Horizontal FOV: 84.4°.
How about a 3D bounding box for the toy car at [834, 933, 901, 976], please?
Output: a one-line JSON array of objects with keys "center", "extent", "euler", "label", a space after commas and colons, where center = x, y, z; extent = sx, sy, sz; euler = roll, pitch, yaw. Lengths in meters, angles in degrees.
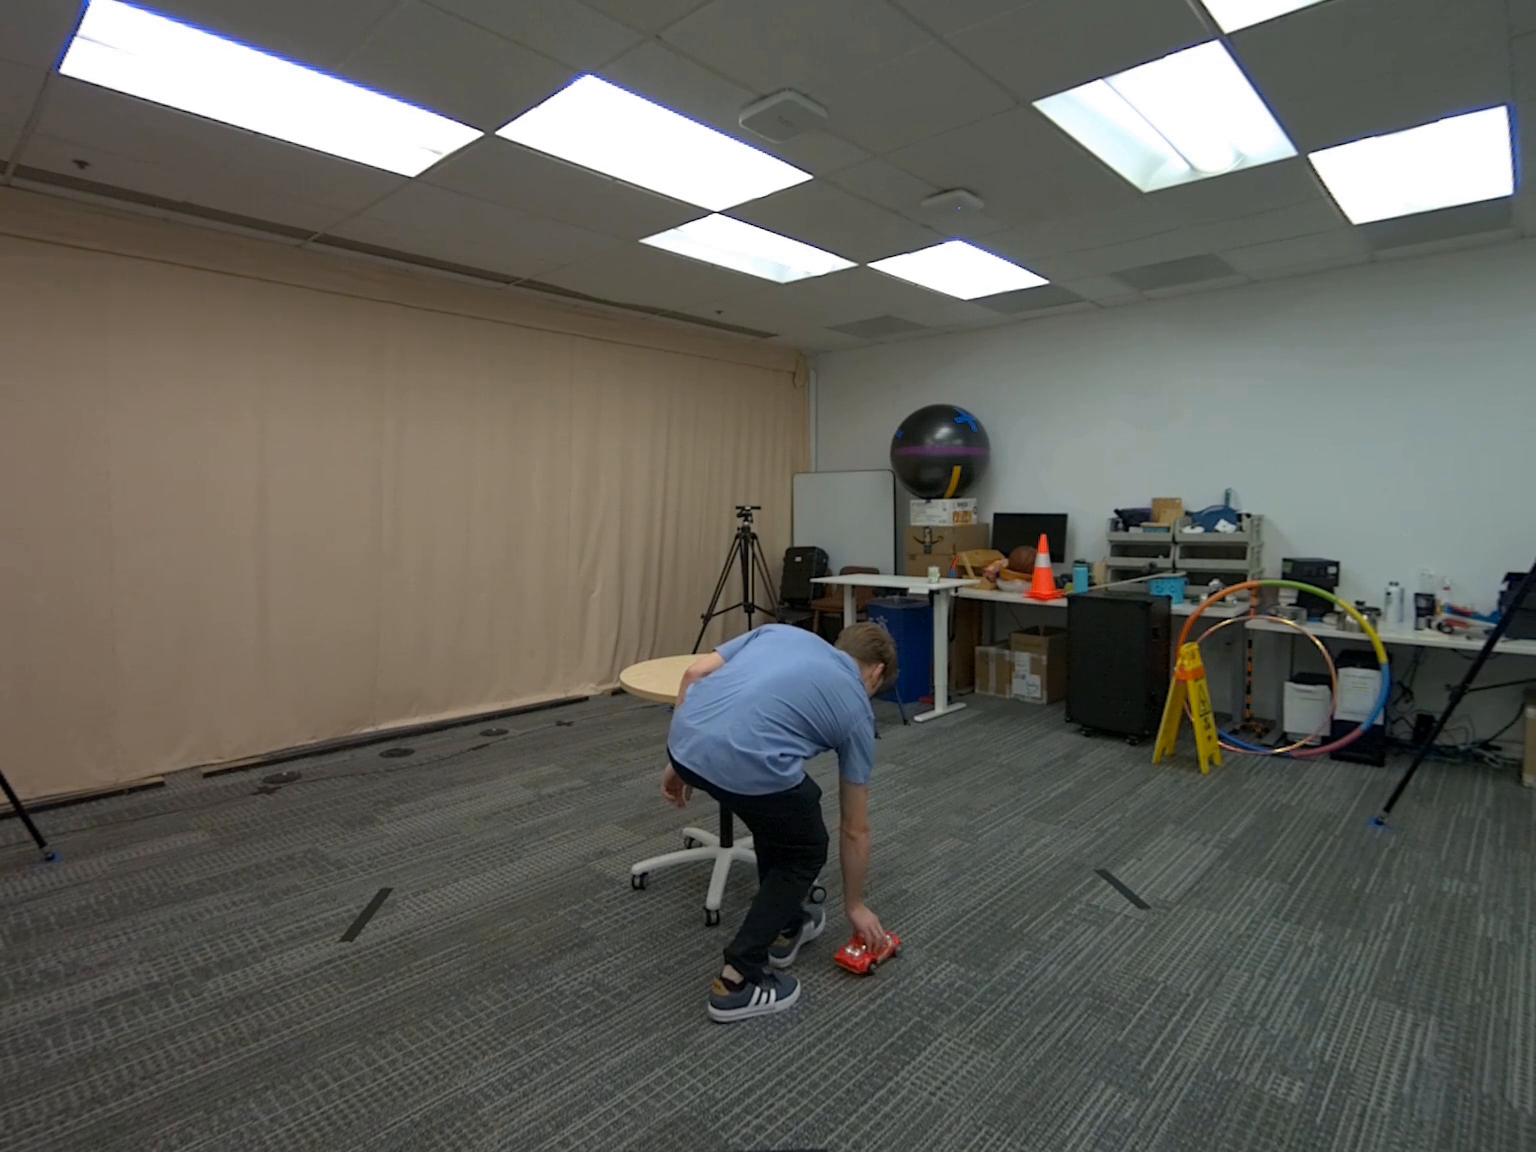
[{"center": [0.305, 1.149, 2.563], "extent": [0.135, 0.083, 0.246], "euler": [5, -4, 42], "label": "toy car"}]
